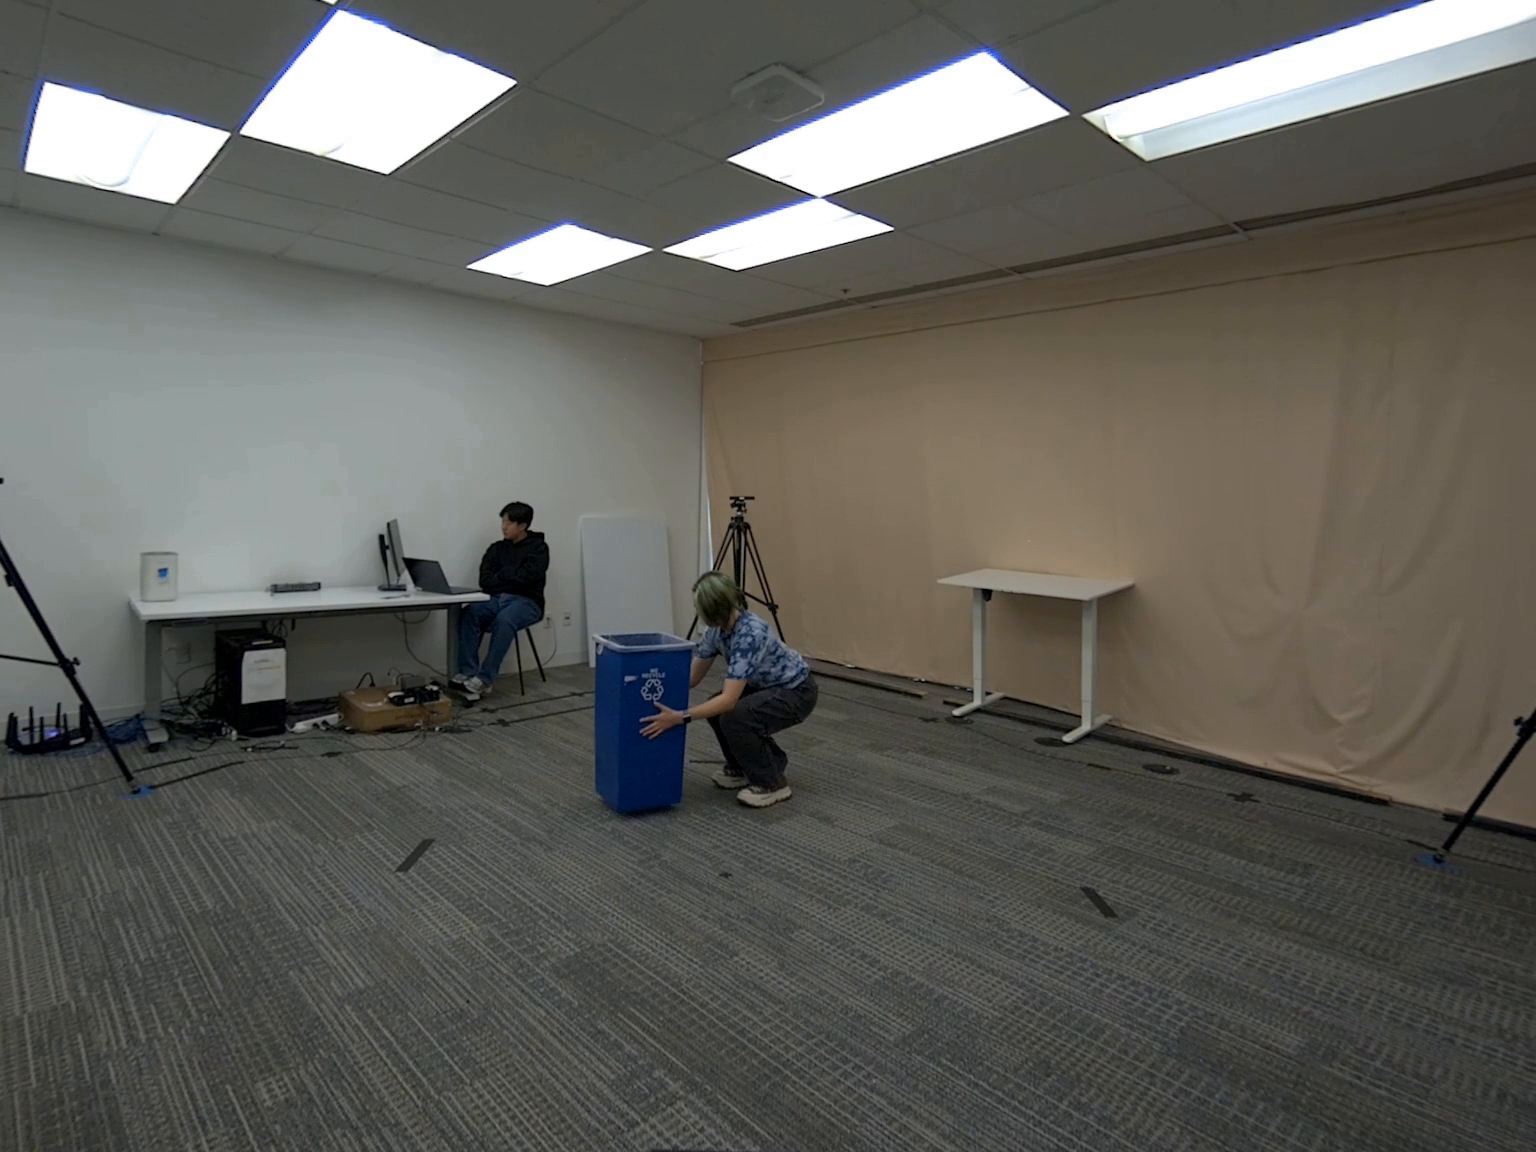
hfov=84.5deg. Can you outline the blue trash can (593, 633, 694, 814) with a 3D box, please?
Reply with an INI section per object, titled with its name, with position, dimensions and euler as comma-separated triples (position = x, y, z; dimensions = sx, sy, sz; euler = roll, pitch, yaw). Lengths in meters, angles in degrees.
[blue trash can]
position = -0.578, 0.628, 3.768
dimensions = 0.366, 0.712, 0.387
euler = 0, 4, -31
